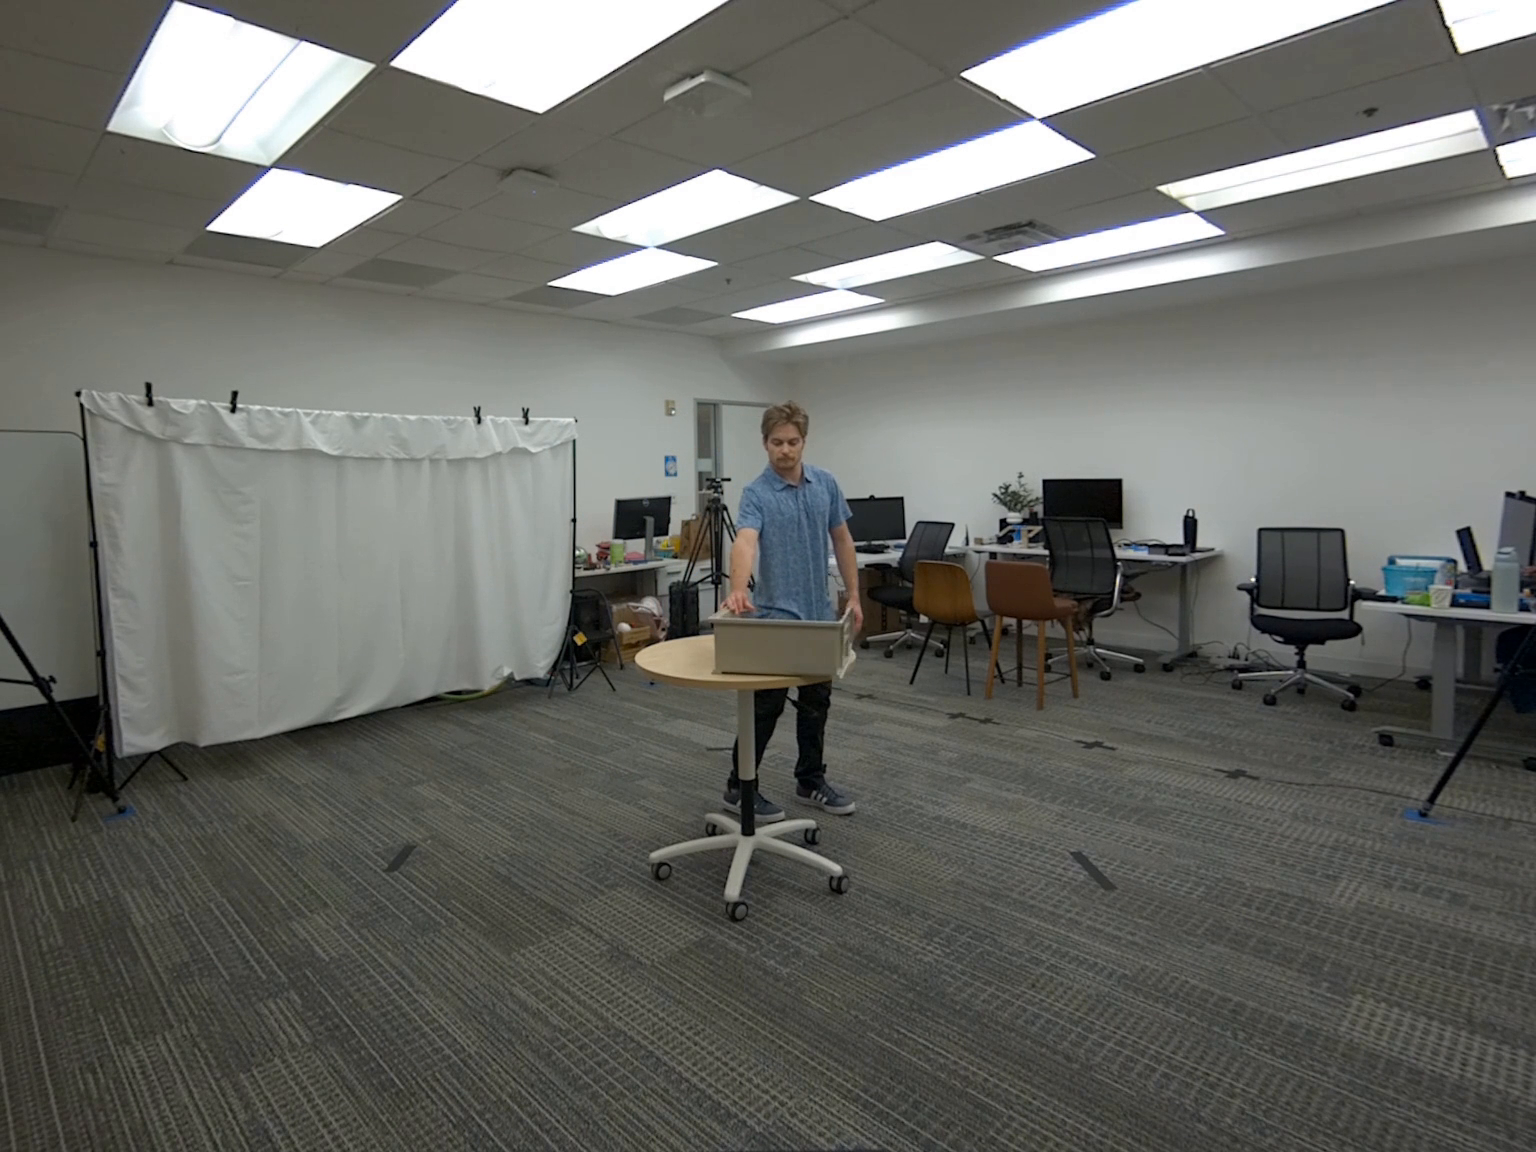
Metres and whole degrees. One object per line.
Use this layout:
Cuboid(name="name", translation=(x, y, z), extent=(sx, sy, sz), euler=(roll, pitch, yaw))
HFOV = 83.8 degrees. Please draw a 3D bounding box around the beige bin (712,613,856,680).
Cuboid(name="beige bin", translation=(0.052, 0.203, 2.808), extent=(0.428, 0.188, 0.375), euler=(1, 8, 13))
